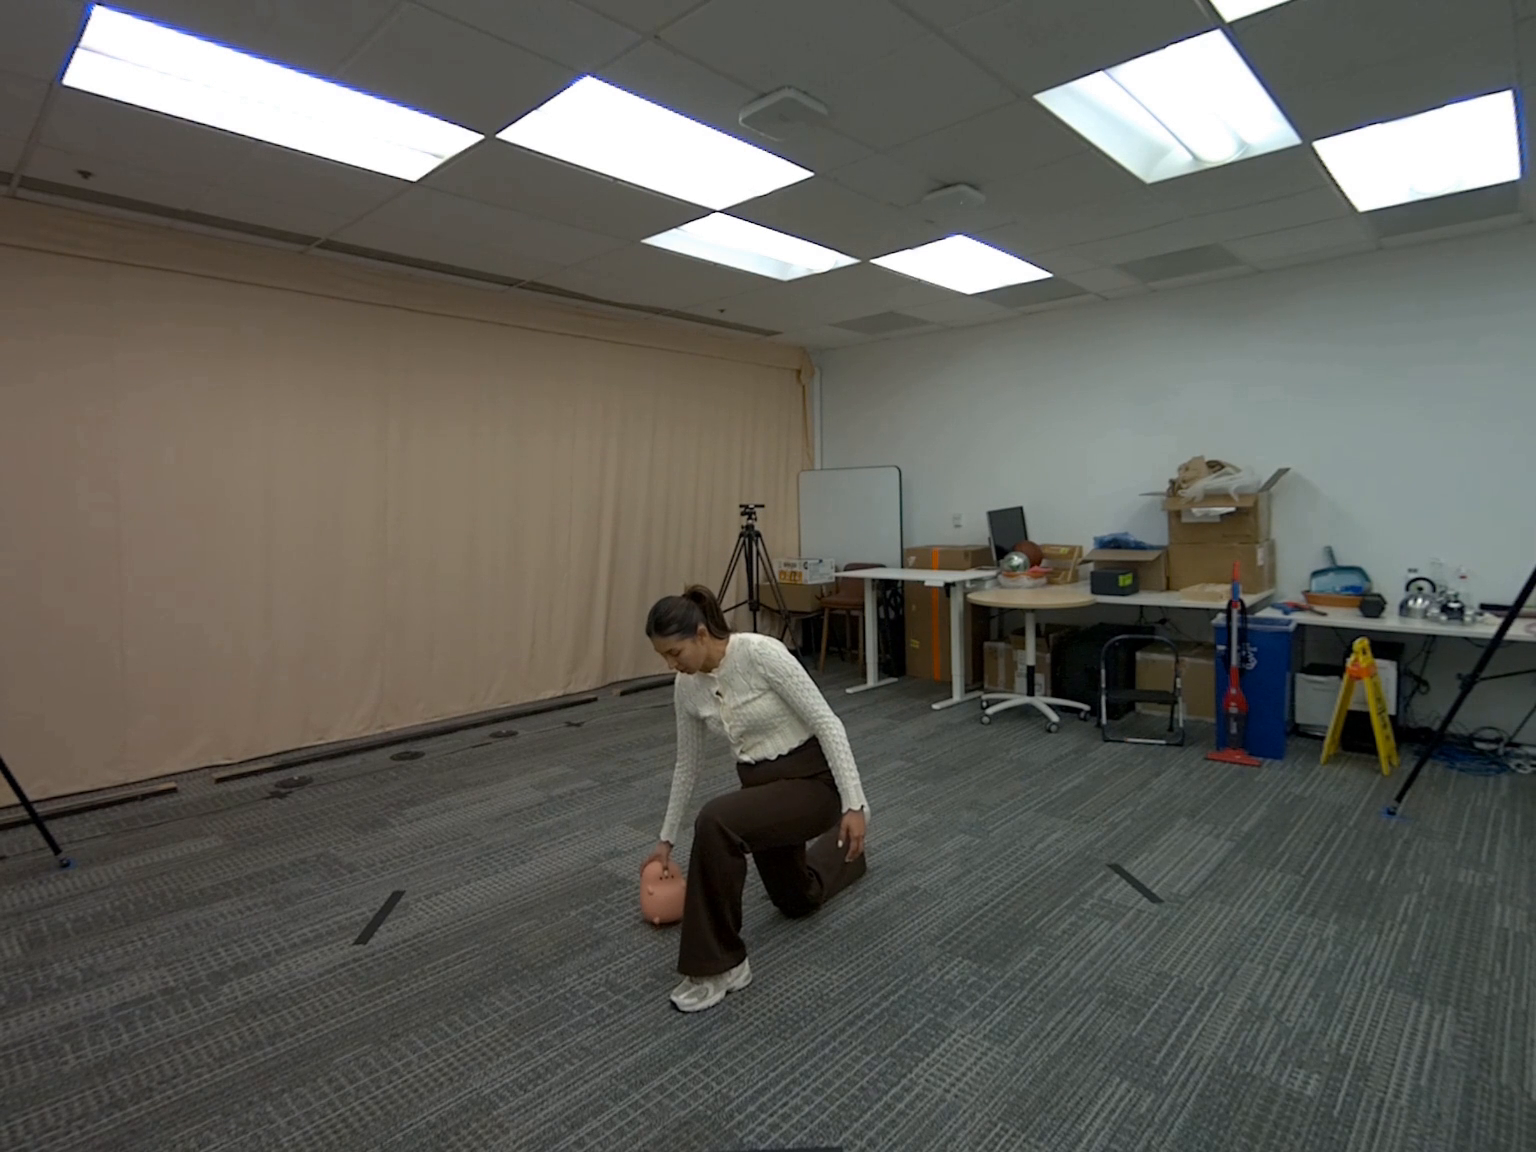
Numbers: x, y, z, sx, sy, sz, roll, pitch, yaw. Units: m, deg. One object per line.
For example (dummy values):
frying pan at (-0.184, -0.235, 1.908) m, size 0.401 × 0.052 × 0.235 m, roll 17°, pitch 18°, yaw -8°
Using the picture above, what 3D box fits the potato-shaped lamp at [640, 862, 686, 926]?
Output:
potato-shaped lamp at (-0.352, 1.054, 2.842) m, size 0.160 × 0.200 × 0.175 m, roll 7°, pitch -17°, yaw -29°
